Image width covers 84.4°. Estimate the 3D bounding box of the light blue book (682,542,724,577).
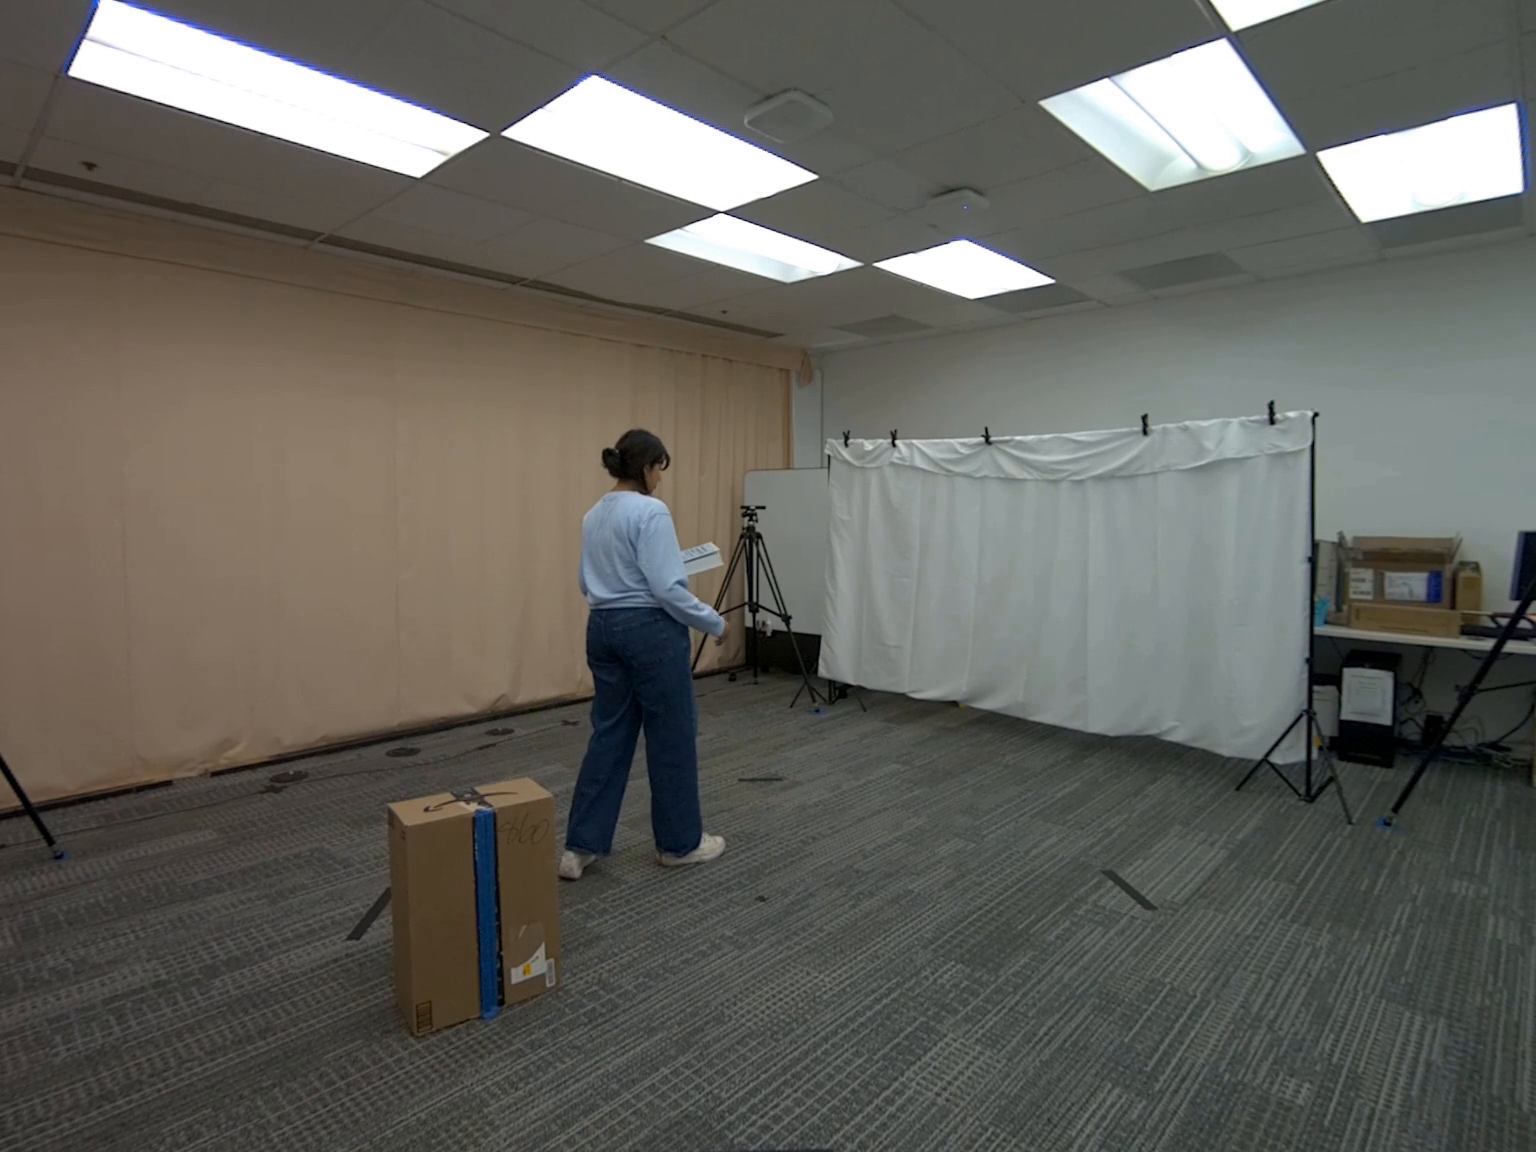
[{"bbox_3d":[-0.332,-0.060,3.499,0.259,0.058,0.196,-19,17,-11],"label":"light blue book"}]
